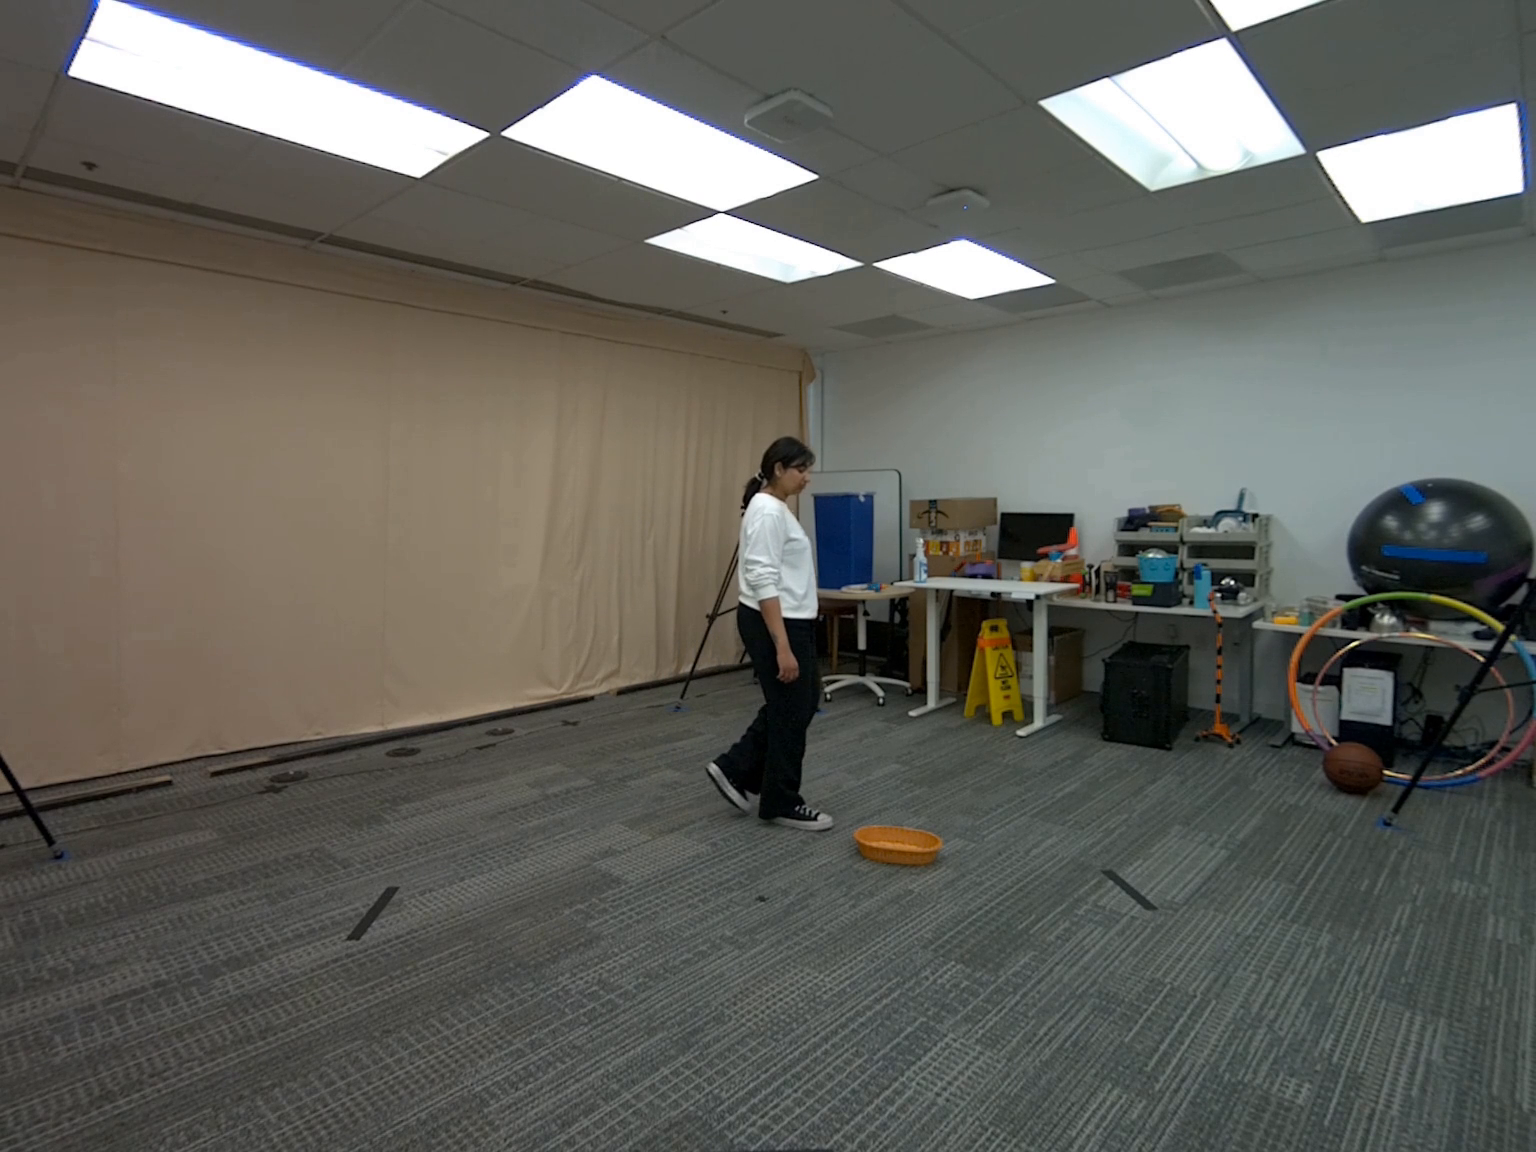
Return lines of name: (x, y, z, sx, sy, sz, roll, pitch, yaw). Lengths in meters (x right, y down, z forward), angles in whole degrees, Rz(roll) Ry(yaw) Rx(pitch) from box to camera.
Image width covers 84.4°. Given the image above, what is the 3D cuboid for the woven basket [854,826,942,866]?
woven basket: (0.521, 1.075, 3.354, 0.357, 0.073, 0.248, 1, 3, 18)
